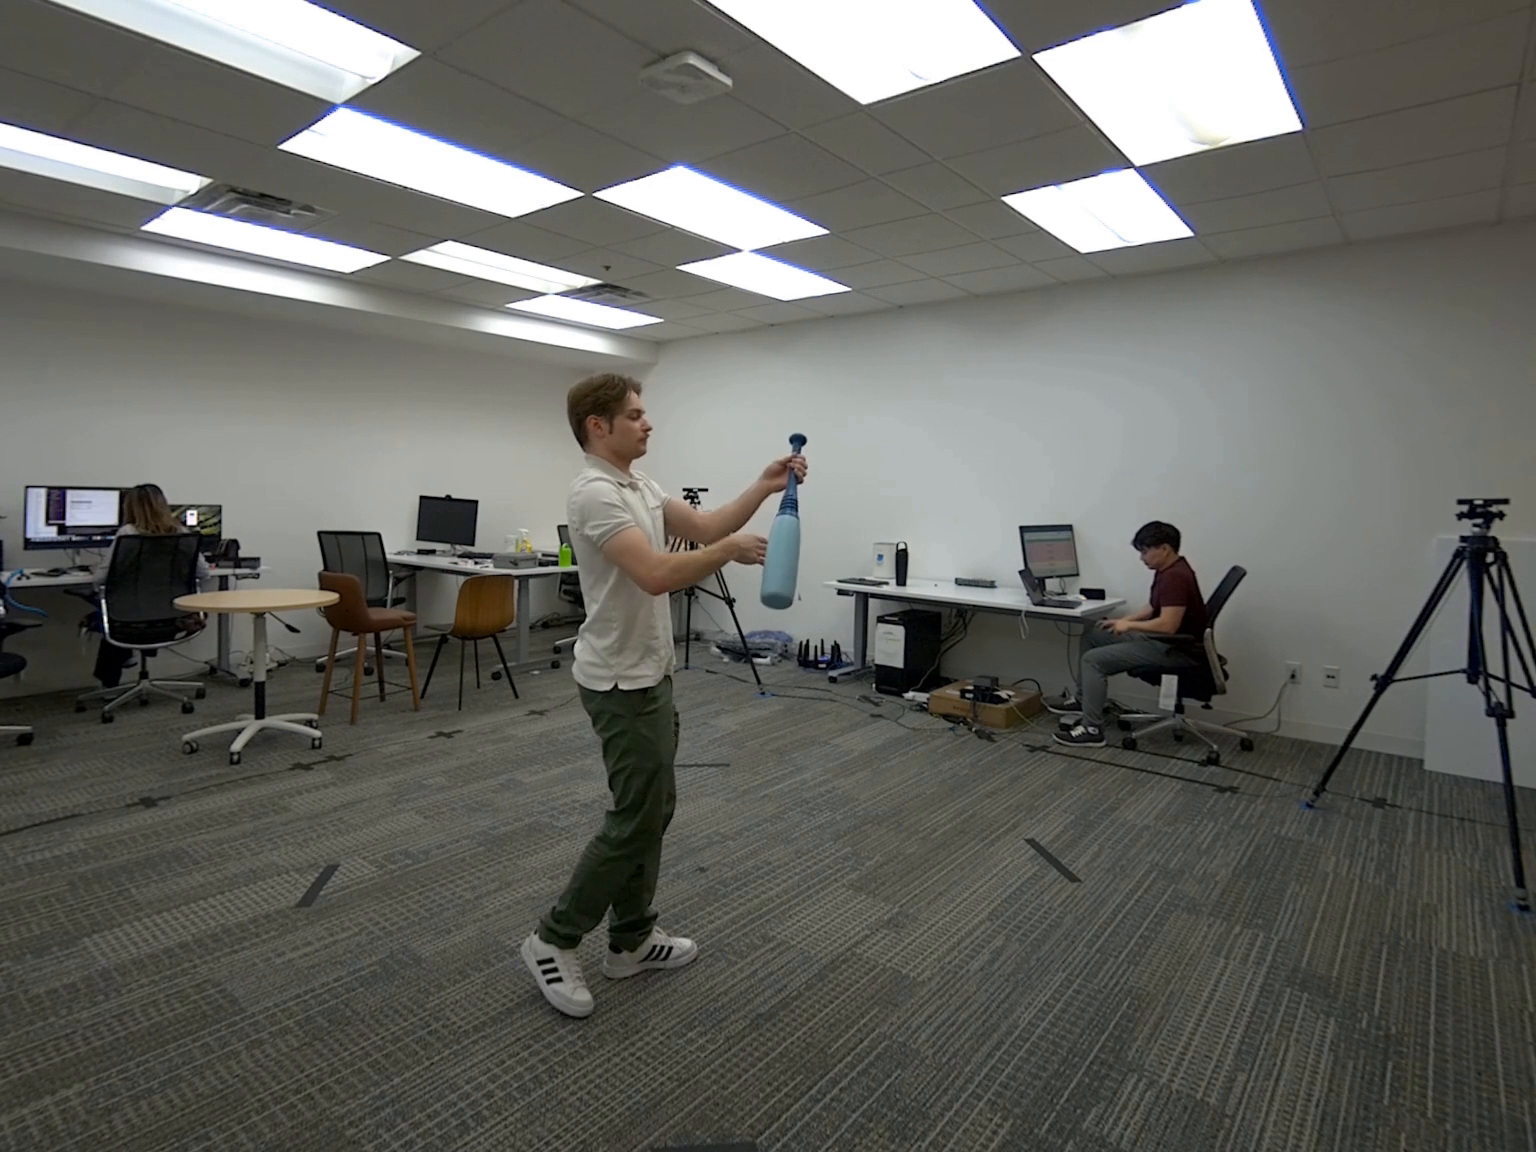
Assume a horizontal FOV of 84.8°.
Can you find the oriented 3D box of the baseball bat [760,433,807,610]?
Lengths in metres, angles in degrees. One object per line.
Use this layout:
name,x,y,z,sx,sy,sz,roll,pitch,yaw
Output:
baseball bat,0.047,-0.162,2.266,0.089,0.554,0.087,7,-30,2
